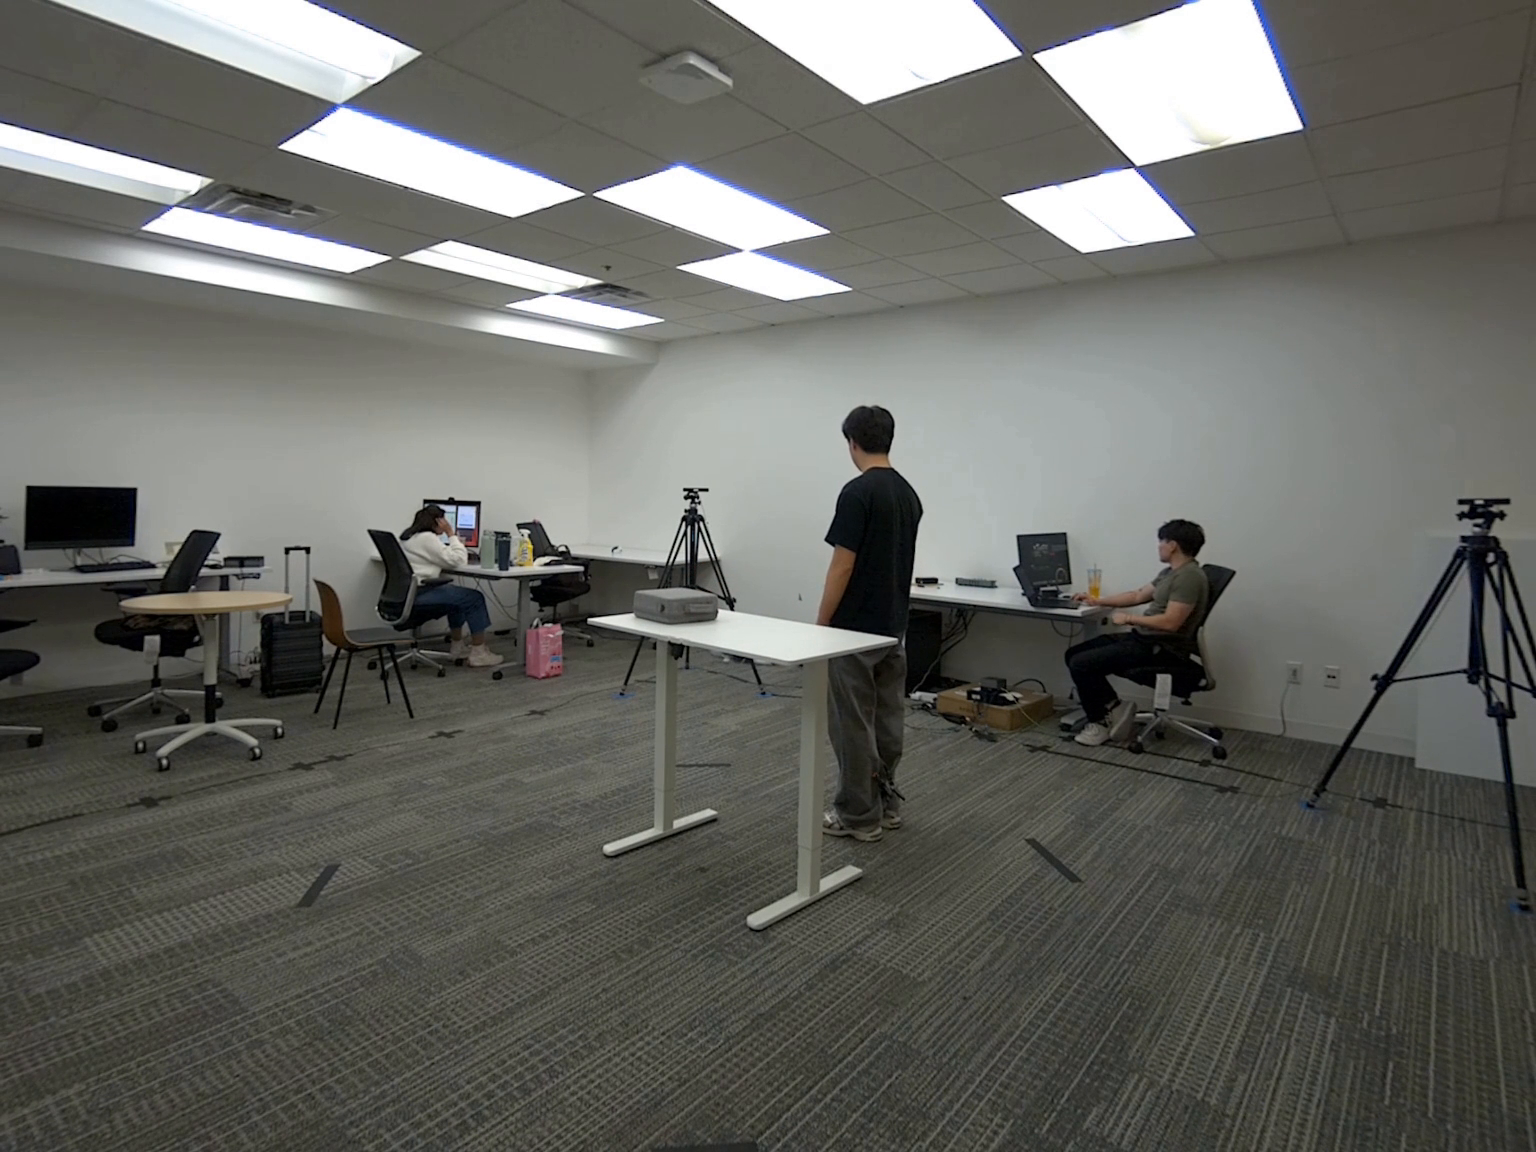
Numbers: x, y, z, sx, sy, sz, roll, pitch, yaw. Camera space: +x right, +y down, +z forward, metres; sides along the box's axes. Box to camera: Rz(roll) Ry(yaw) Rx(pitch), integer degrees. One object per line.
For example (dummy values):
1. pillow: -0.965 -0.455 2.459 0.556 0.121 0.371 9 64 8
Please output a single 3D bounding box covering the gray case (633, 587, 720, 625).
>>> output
1. gray case: -0.360 0.111 3.290 0.255 0.102 0.297 -3 7 -42
